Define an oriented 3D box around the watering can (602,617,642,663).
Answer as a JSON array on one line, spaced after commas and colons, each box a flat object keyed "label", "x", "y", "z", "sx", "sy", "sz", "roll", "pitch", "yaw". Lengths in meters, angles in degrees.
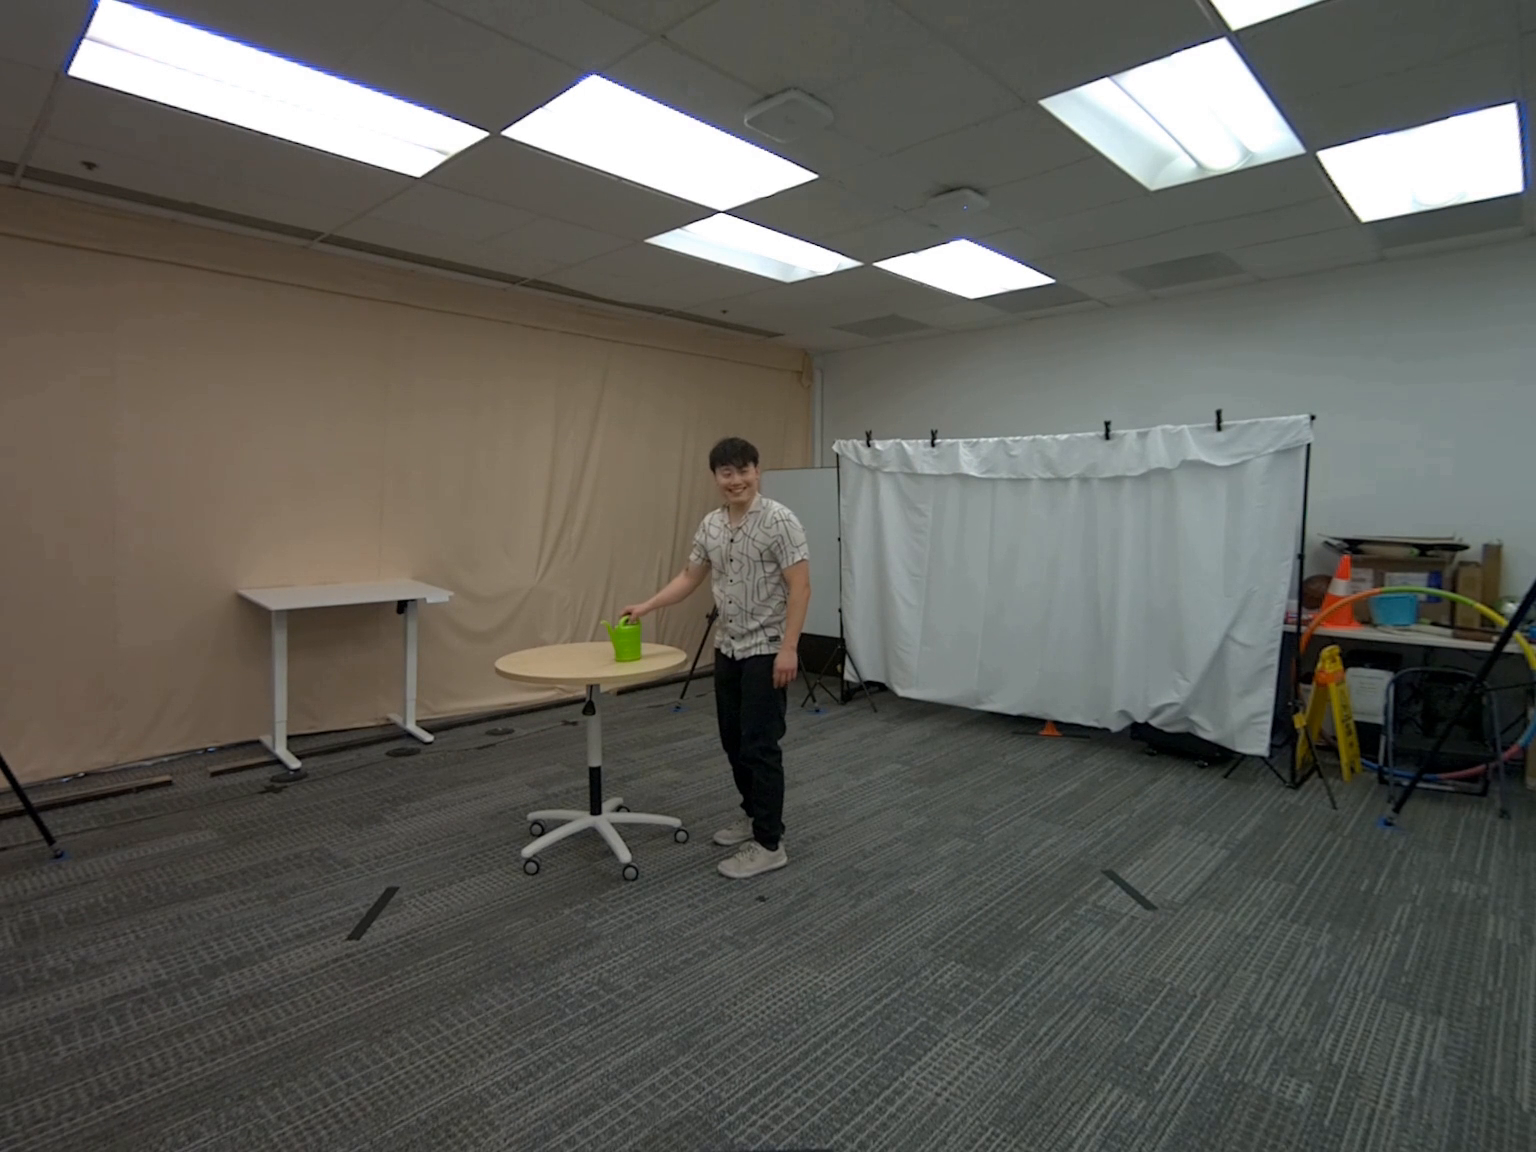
[{"label": "watering can", "x": -0.582, "y": 0.253, "z": 3.345, "sx": 0.101, "sy": 0.177, "sz": 0.270, "roll": 0, "pitch": 2, "yaw": 34}]
